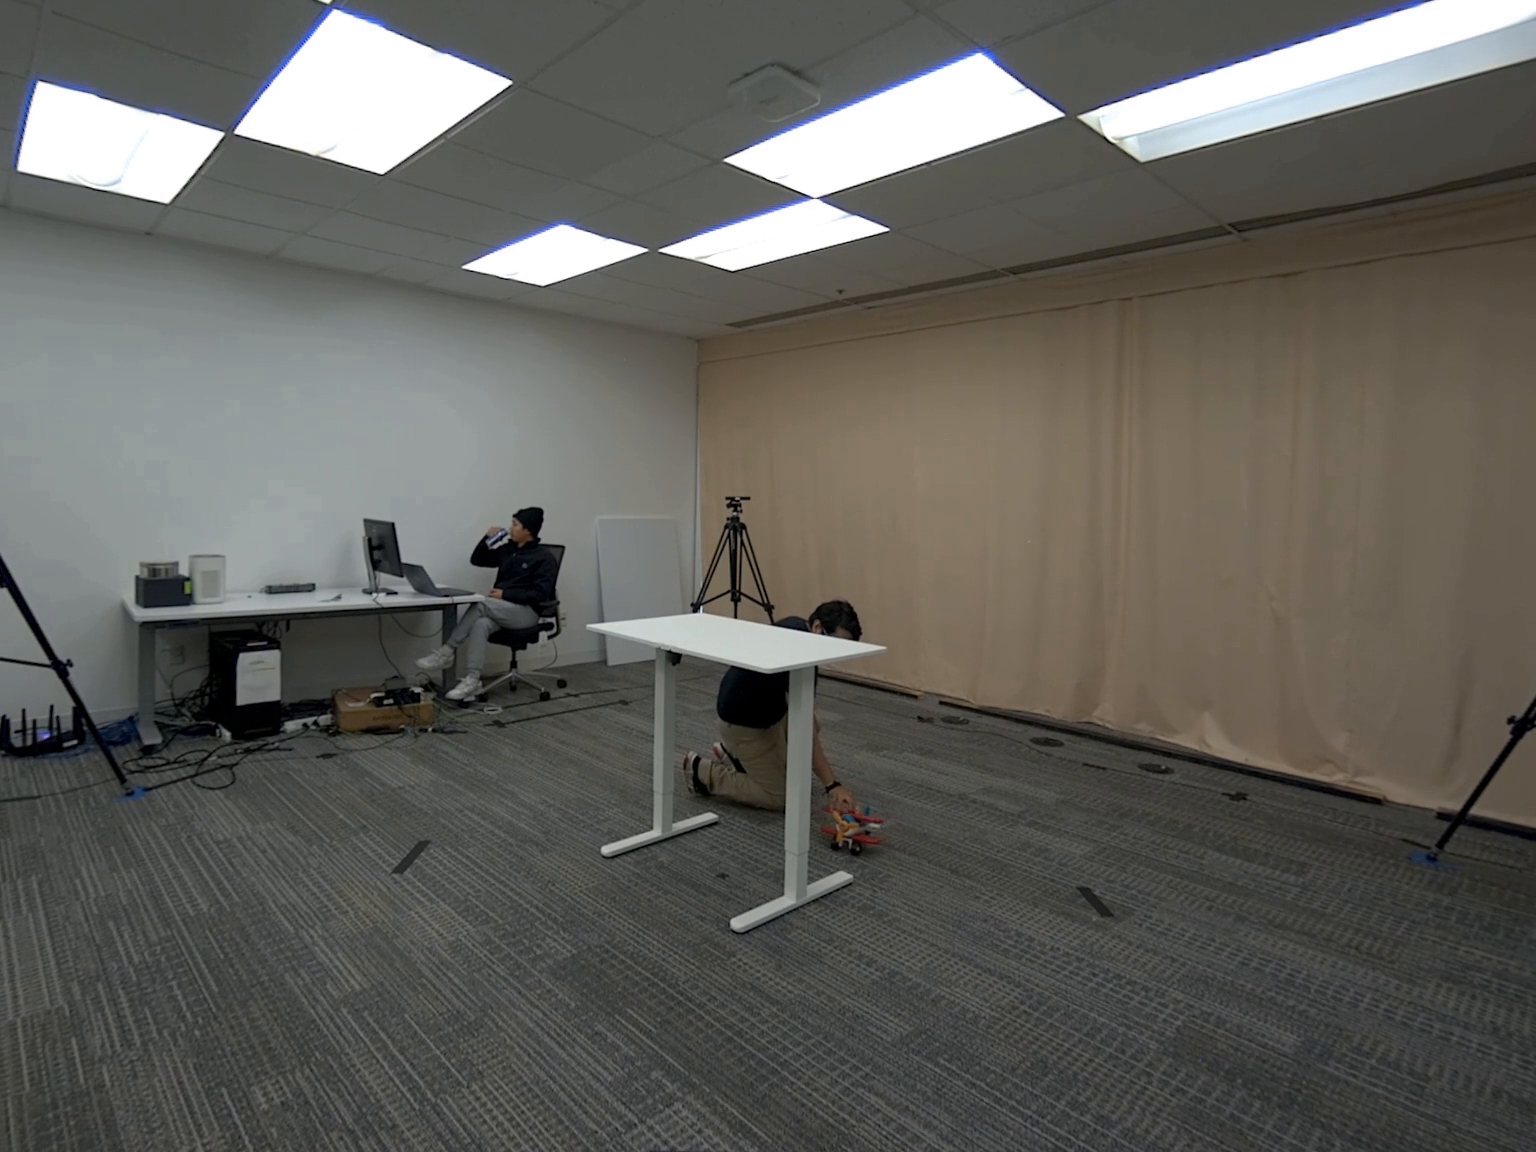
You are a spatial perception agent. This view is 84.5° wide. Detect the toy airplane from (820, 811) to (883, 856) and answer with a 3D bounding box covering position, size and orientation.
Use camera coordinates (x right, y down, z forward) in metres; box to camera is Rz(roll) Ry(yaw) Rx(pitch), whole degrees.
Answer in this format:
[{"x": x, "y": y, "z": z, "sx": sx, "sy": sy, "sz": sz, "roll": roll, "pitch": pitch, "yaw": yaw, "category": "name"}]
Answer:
[{"x": 0.330, "y": 1.019, "z": 3.413, "sx": 0.252, "sy": 0.156, "sz": 0.259, "roll": 2, "pitch": 5, "yaw": 4, "category": "toy airplane"}]
